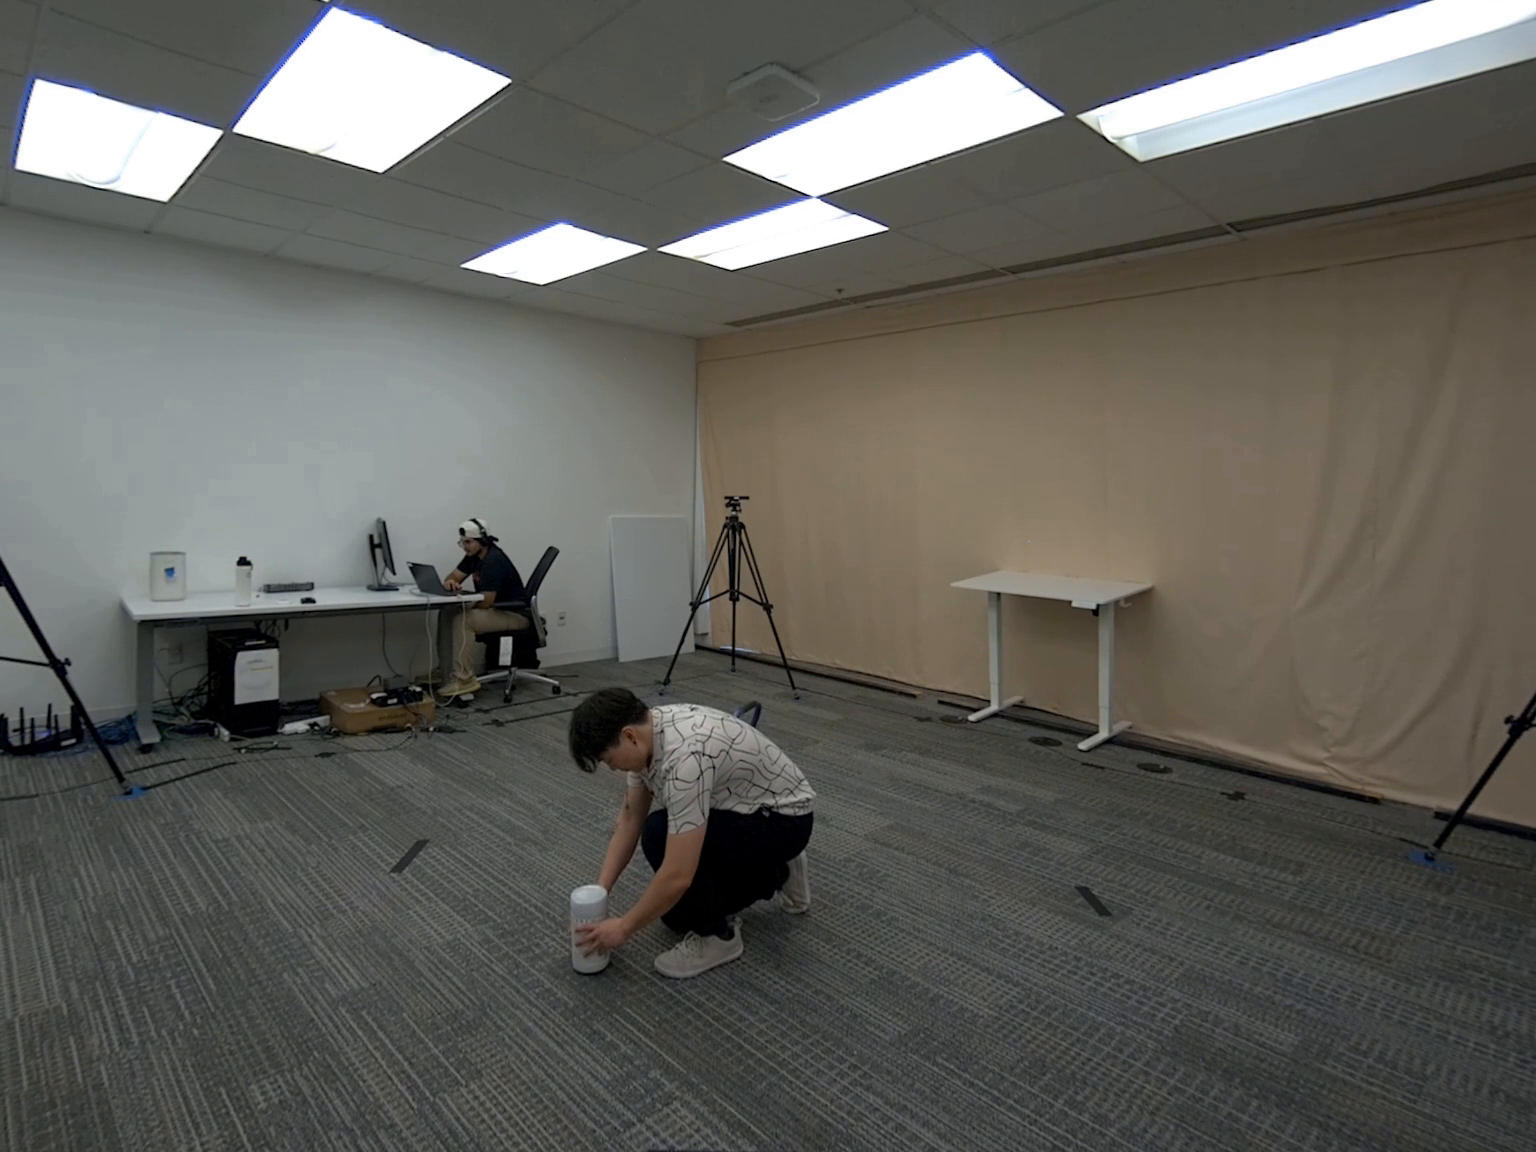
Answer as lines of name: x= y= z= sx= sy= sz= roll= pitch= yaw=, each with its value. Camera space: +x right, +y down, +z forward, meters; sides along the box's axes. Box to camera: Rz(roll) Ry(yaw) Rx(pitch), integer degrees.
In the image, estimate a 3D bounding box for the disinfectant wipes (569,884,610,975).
disinfectant wipes: x=-0.522 y=1.029 z=2.474 sx=0.118 sy=0.216 sz=0.118 roll=-1 pitch=8 yaw=-1
